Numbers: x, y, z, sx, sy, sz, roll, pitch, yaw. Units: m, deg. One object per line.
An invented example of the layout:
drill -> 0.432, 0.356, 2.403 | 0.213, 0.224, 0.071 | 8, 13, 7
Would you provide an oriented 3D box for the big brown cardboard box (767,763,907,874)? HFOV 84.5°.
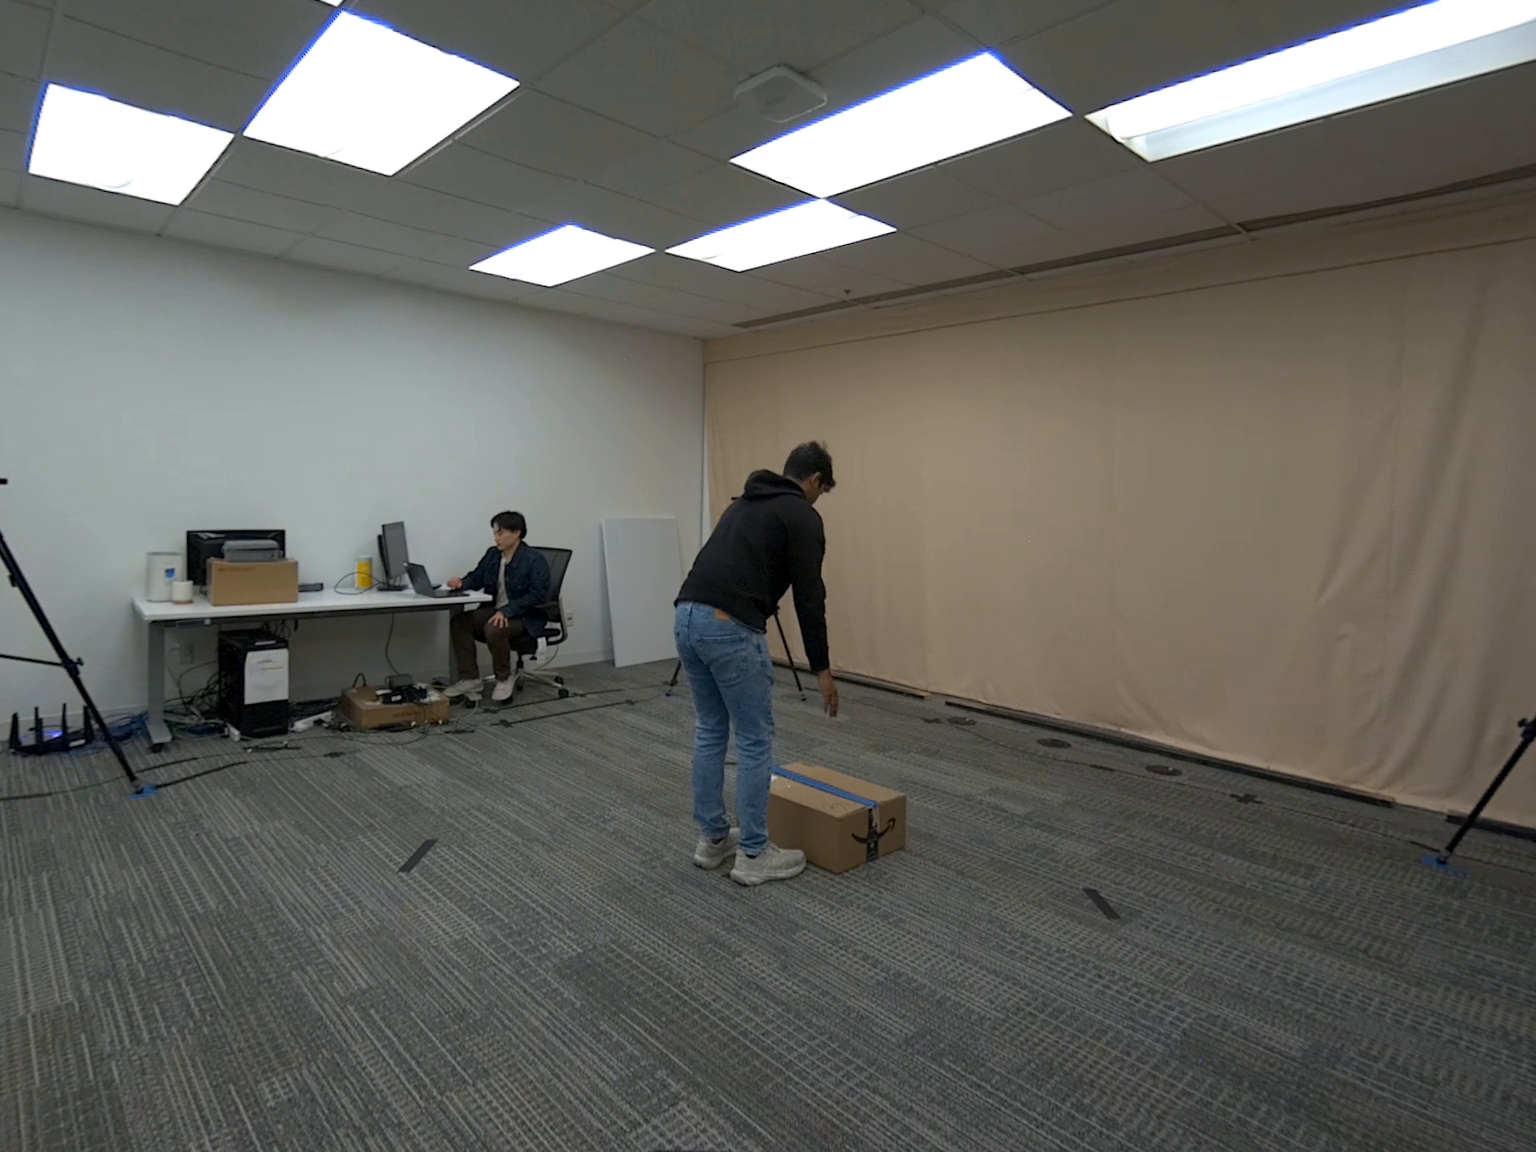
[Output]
big brown cardboard box -> 0.200, 0.973, 3.474 | 0.408, 0.232, 0.604 | -3, 7, -44
